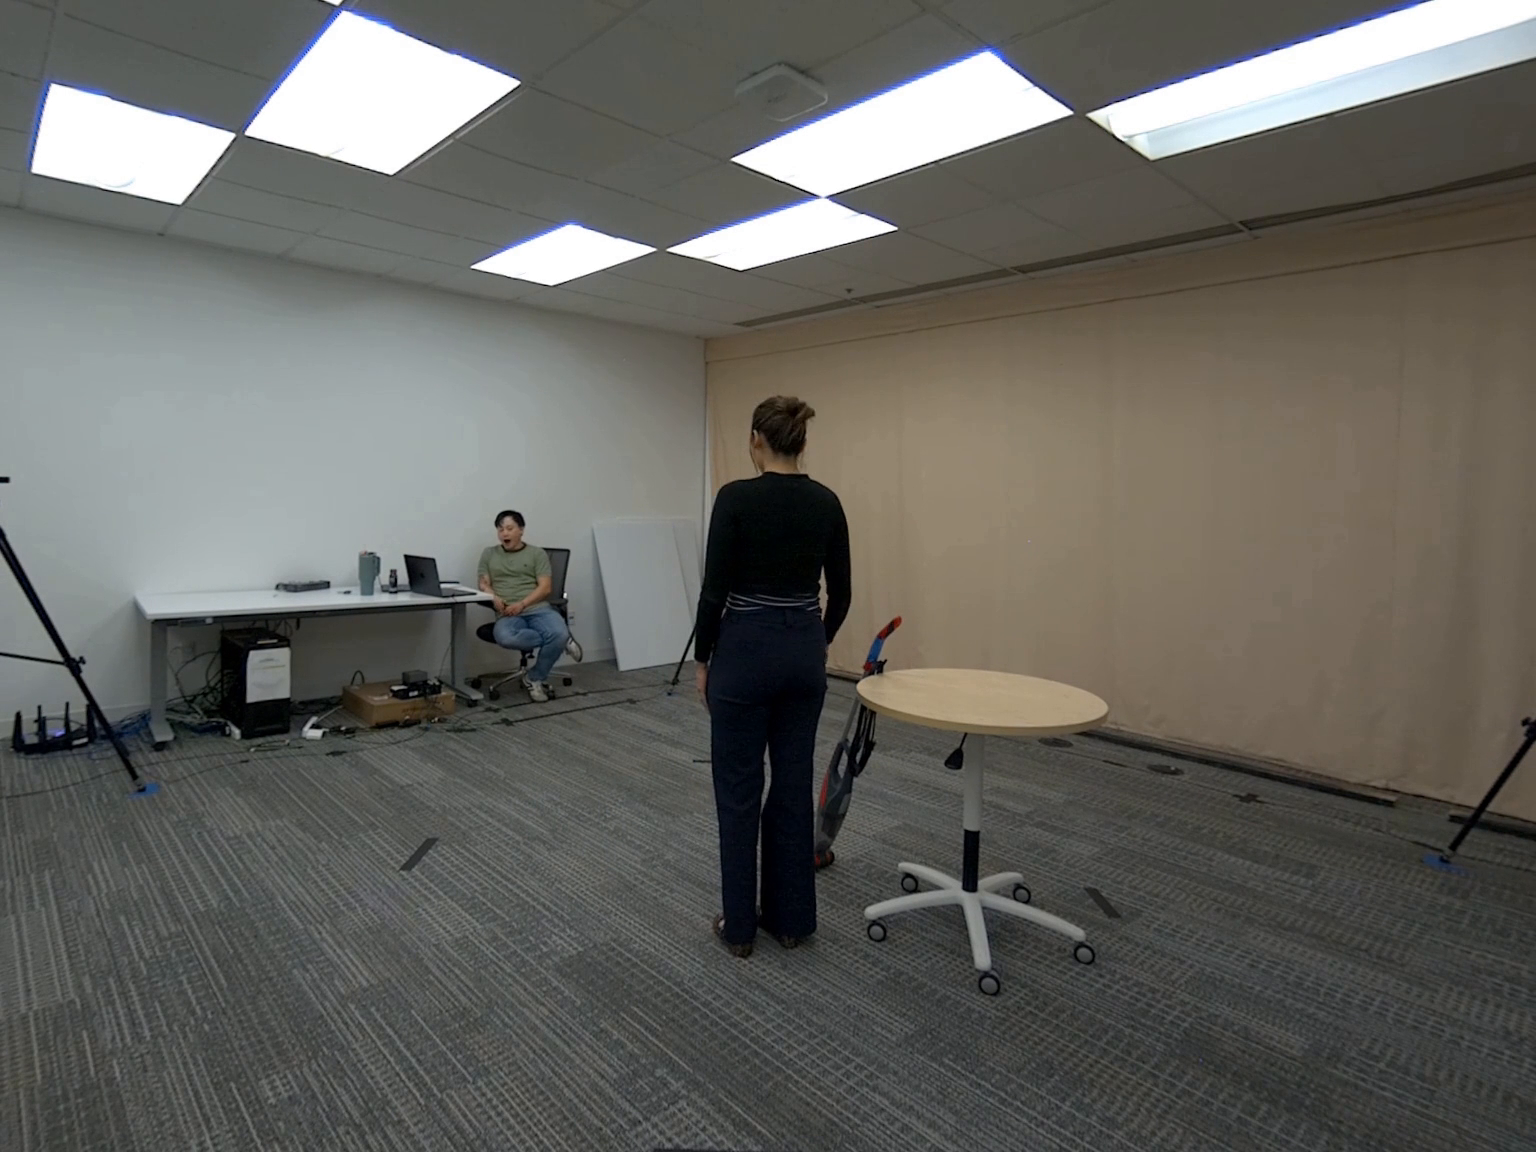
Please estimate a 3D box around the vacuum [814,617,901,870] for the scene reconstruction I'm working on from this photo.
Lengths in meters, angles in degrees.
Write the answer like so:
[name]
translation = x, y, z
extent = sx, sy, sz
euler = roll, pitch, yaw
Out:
[vacuum]
translation = 0.298, 0.626, 3.059
extent = 0.246, 1.040, 0.149
euler = 1, 25, -41
